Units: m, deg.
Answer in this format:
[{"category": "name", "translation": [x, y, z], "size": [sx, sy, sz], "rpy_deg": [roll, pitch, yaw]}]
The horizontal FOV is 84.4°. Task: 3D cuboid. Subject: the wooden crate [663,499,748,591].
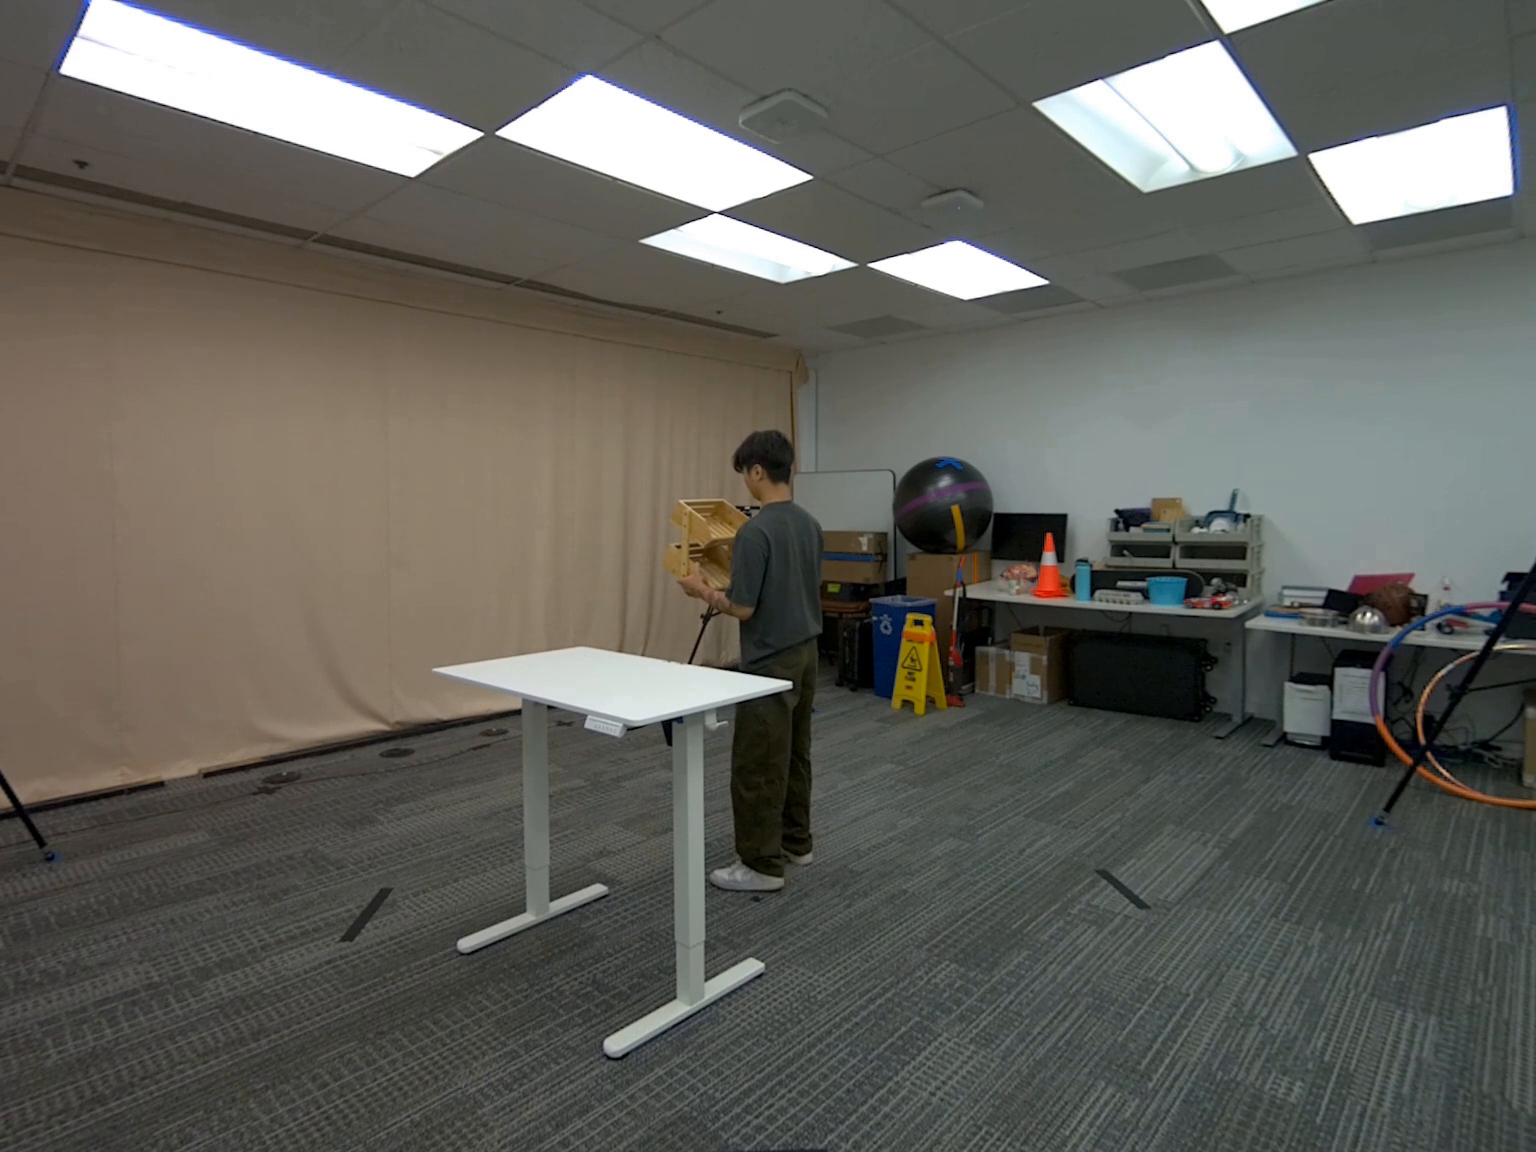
[{"category": "wooden crate", "translation": [-0.202, -0.114, 3.328], "size": [0.311, 0.273, 0.315], "rpy_deg": [38, 24, 25]}]
